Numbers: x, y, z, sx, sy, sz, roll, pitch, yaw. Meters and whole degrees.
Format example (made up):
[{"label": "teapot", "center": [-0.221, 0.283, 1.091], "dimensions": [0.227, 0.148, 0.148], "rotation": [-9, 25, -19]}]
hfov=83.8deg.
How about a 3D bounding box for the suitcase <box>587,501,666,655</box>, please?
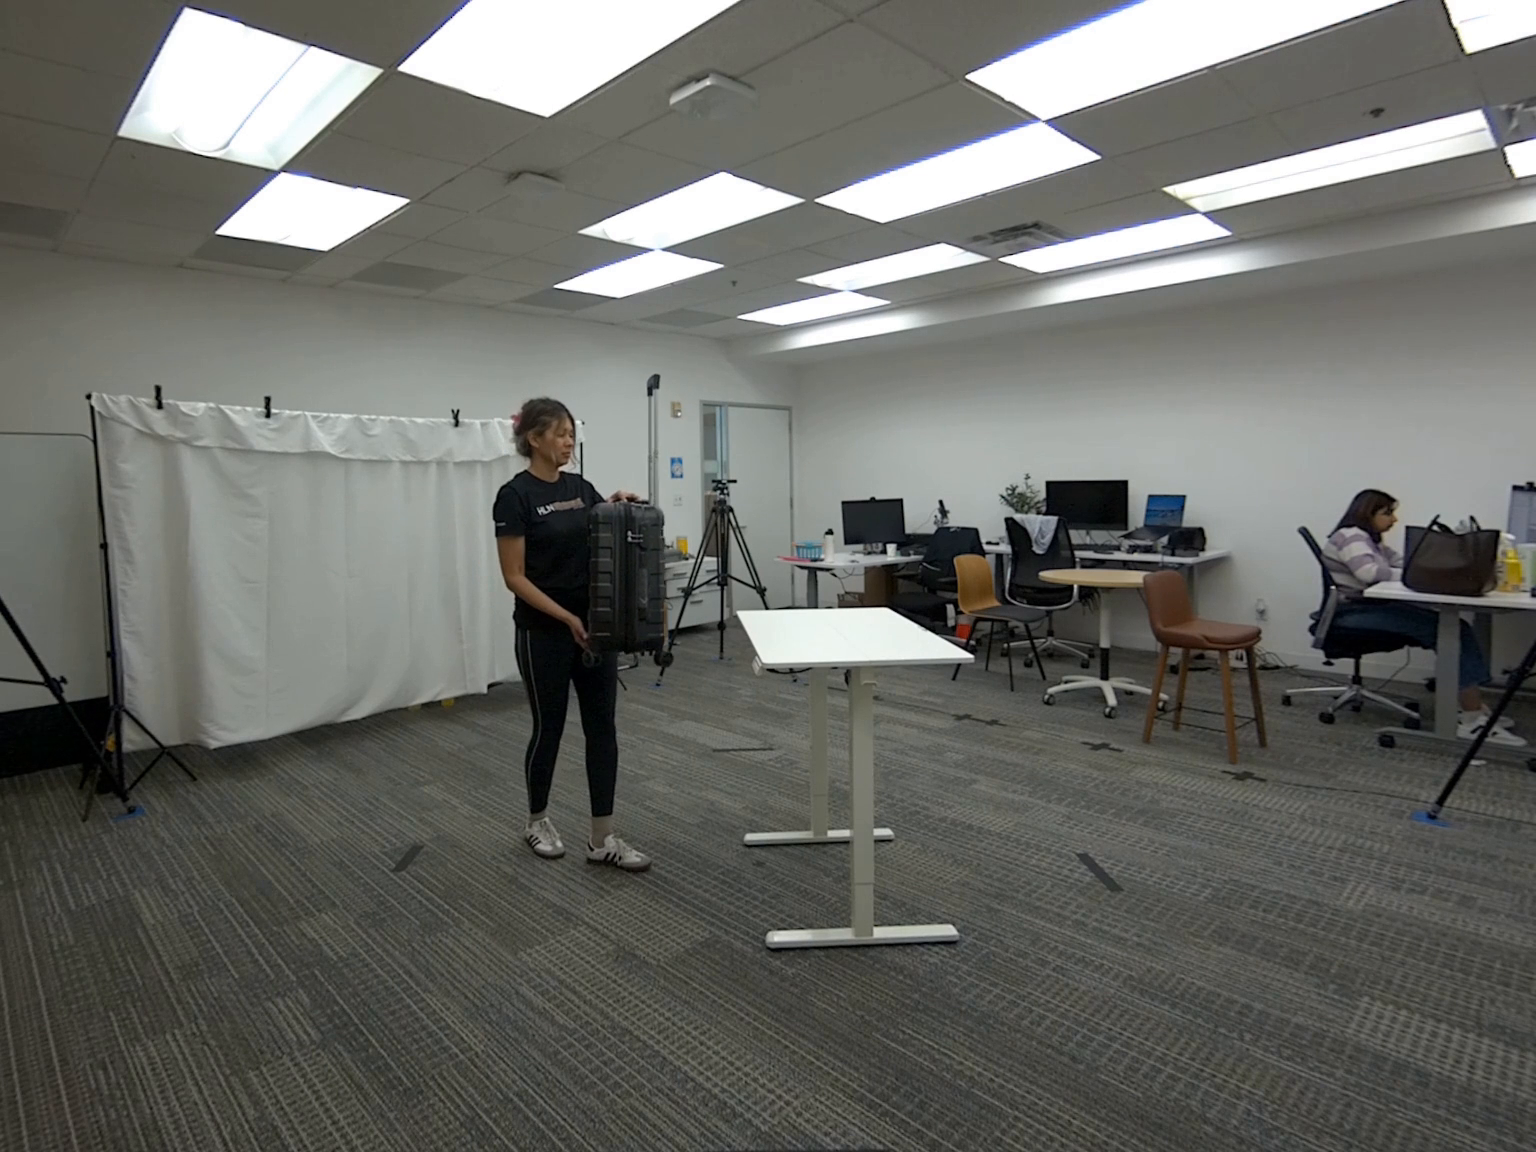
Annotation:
[{"label": "suitcase", "center": [-0.496, -0.198, 2.937], "dimensions": [0.255, 0.980, 0.387], "rotation": [-2, -2, -11]}]
